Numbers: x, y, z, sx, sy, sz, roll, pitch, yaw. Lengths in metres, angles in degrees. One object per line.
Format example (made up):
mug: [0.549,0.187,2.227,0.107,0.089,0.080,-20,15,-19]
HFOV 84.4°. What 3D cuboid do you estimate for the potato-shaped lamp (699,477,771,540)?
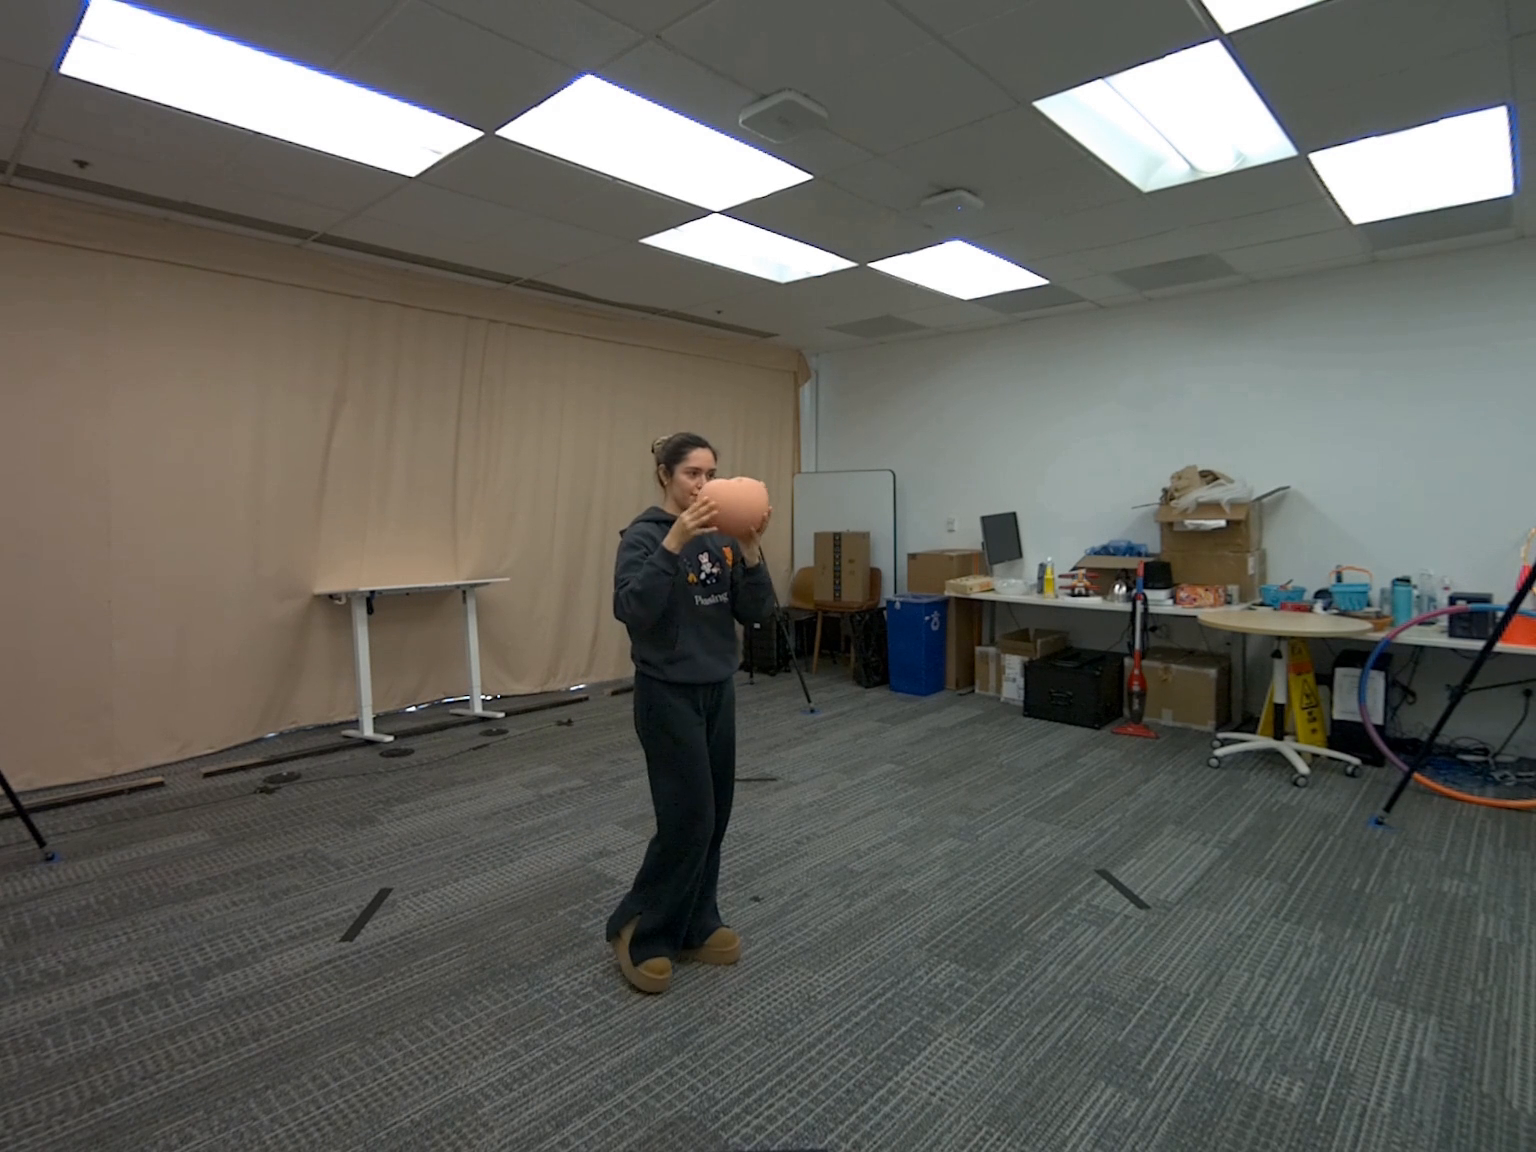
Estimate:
potato-shaped lamp: [-0.108,-0.192,2.315,0.191,0.174,0.168,16,-30,-40]
